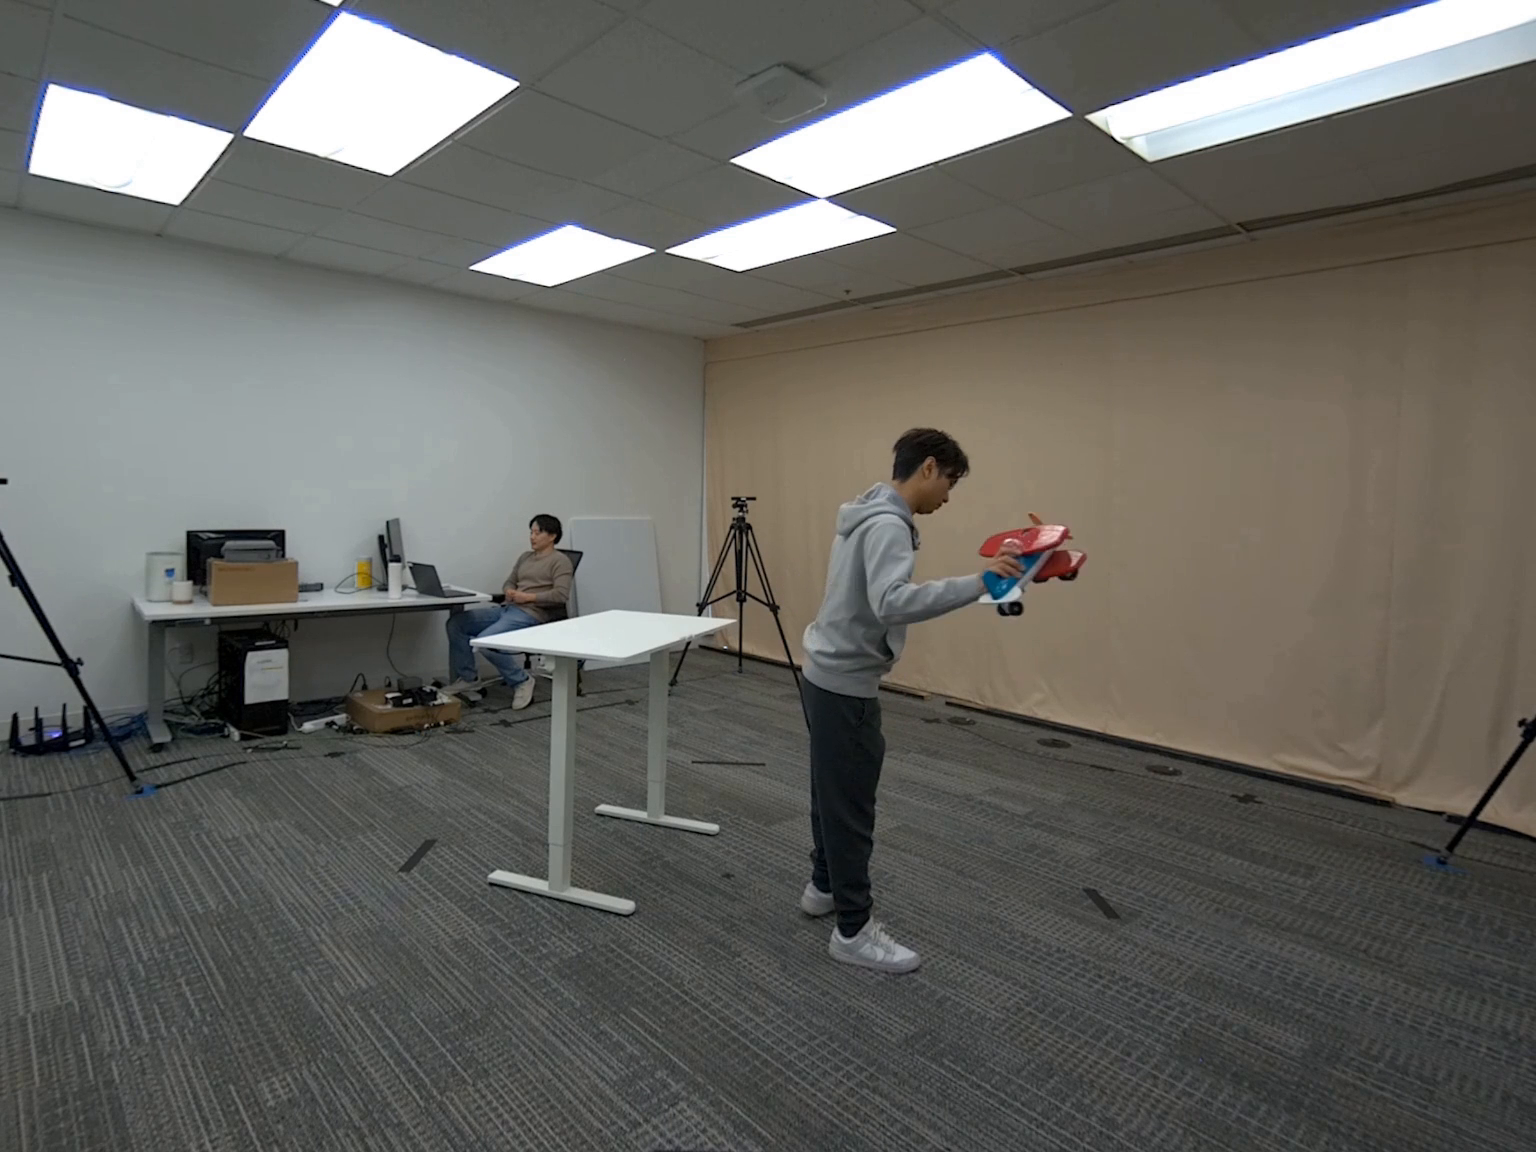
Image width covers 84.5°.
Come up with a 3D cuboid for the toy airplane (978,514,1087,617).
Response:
[{"bbox_3d":[0.616,-0.027,2.012,0.255,0.155,0.257,-18,11,36],"label":"toy airplane"}]
